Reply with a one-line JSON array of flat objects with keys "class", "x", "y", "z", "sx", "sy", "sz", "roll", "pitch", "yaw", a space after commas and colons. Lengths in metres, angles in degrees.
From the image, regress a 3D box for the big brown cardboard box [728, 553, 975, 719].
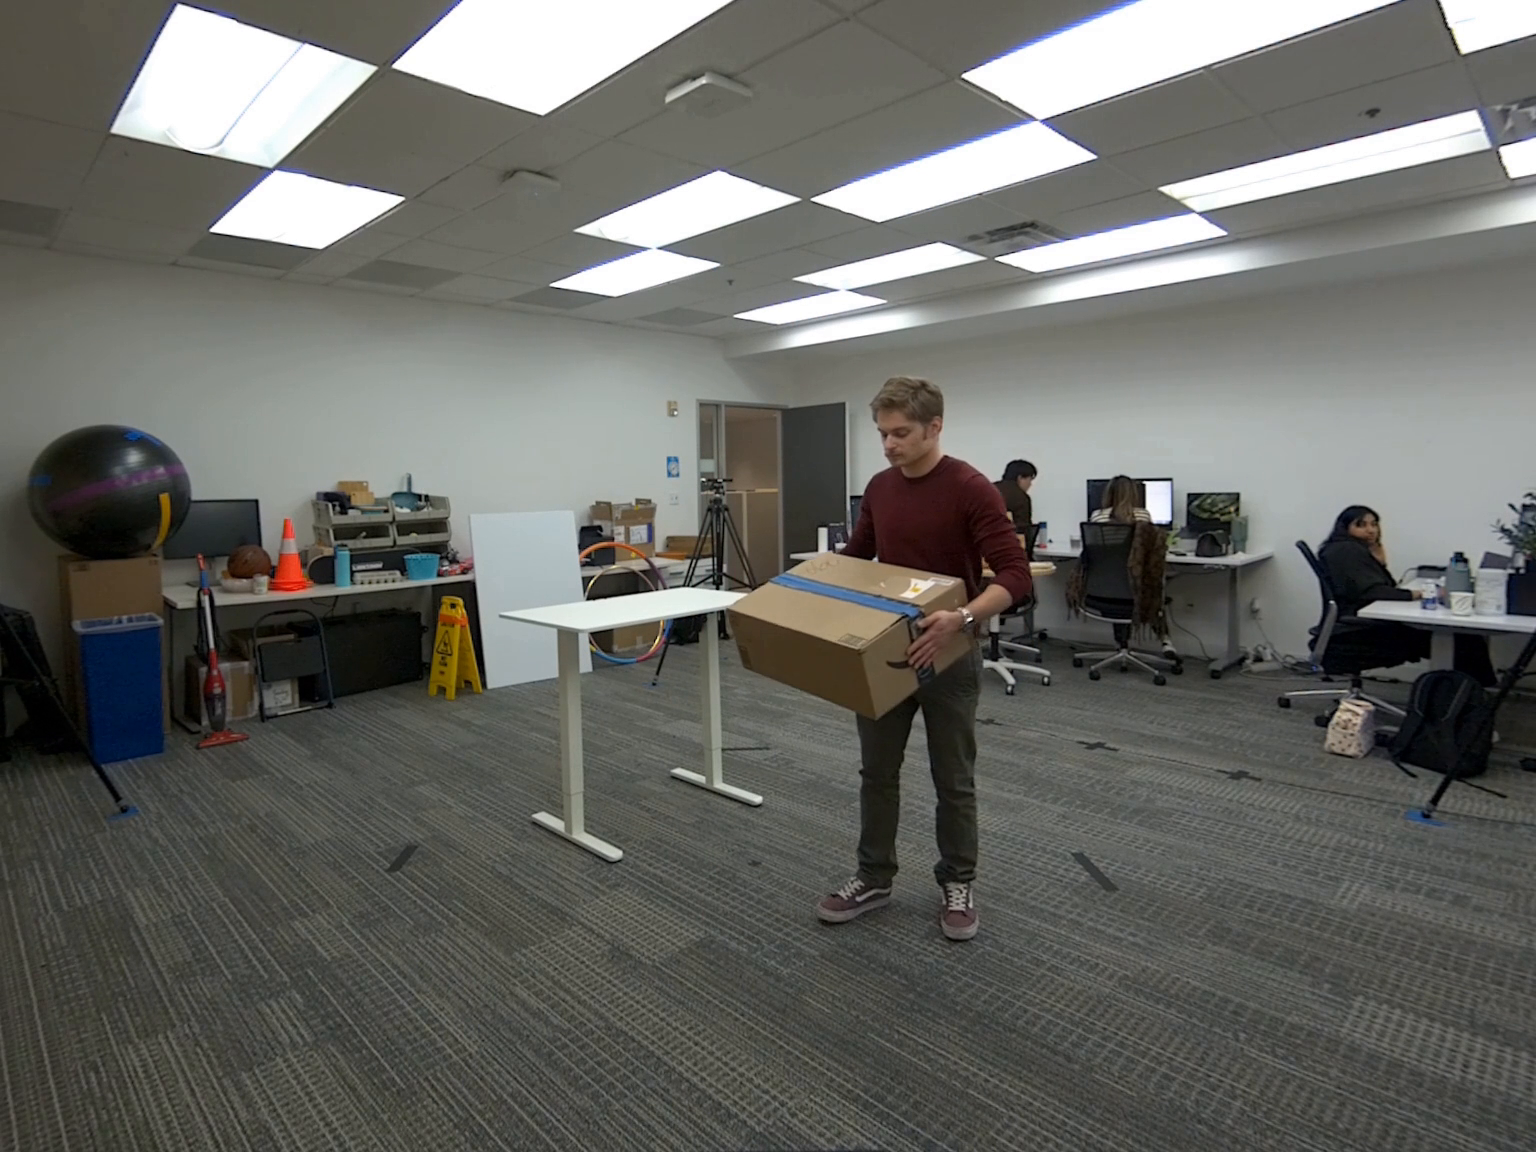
[{"class": "big brown cardboard box", "x": 0.228, "y": 0.149, "z": 2.476, "sx": 0.413, "sy": 0.228, "sz": 0.608, "roll": -29, "pitch": 24, "yaw": -30}]
